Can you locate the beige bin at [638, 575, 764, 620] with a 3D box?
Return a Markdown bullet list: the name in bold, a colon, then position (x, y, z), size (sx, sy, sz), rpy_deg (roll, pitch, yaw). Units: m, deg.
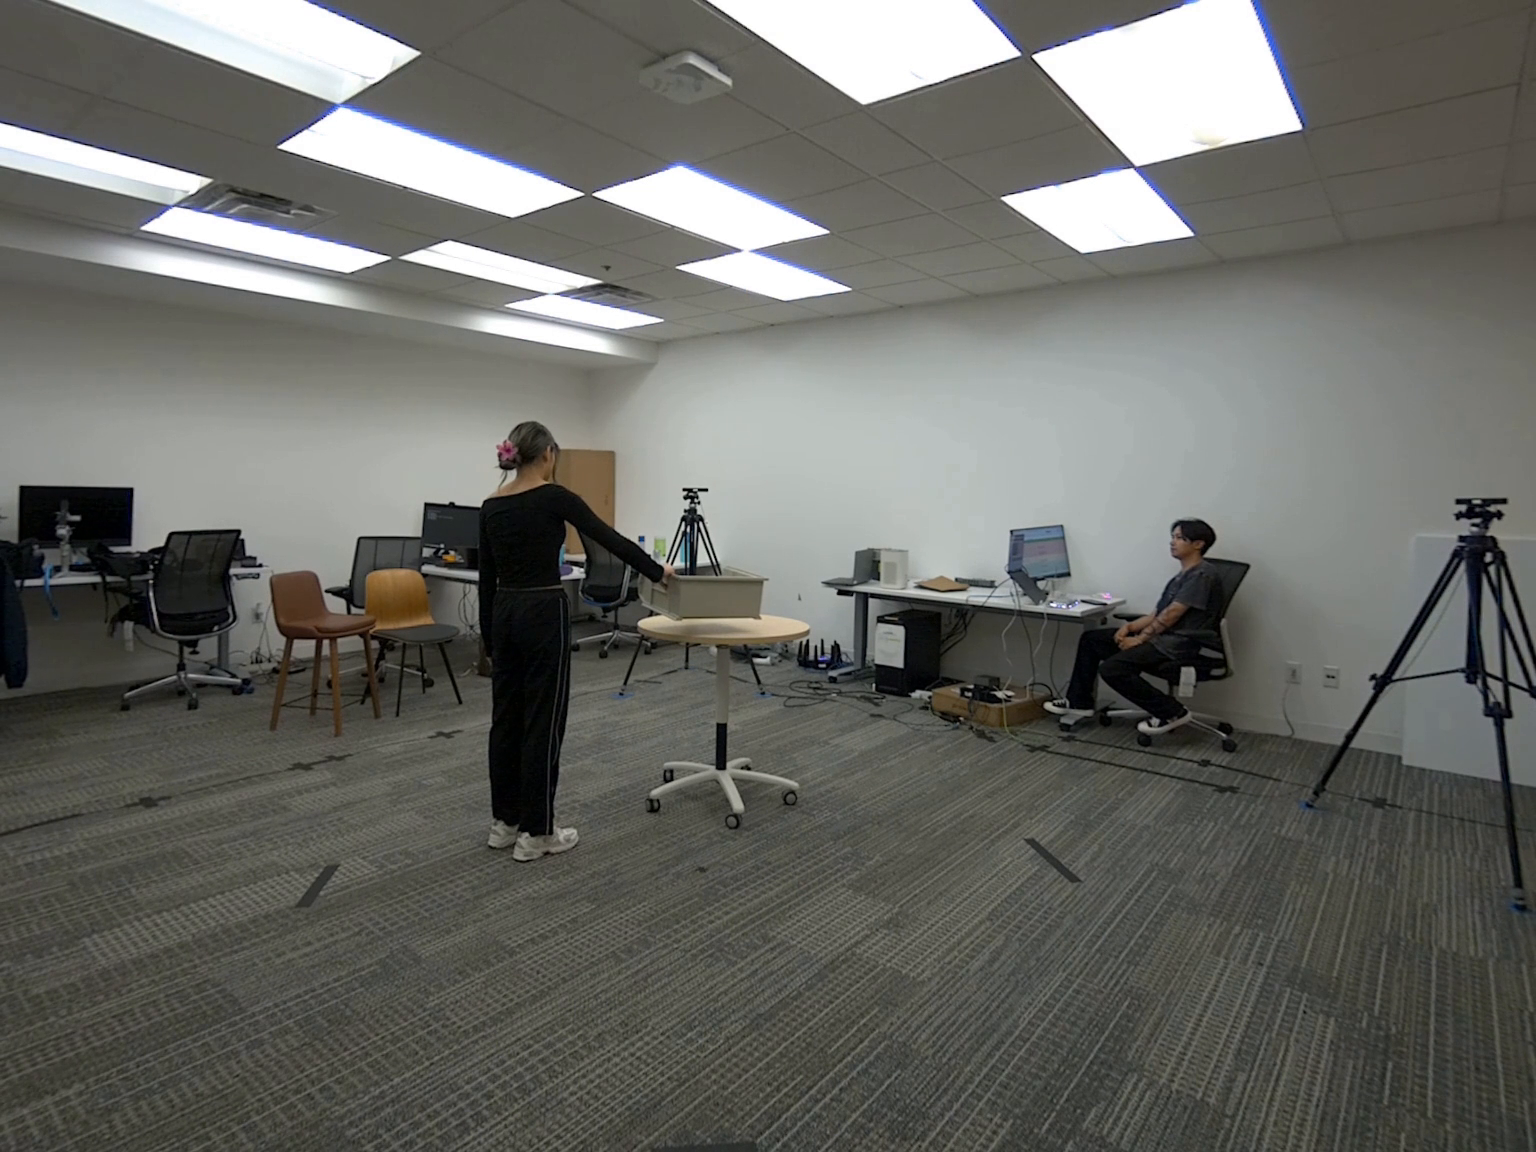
- **beige bin**: position (-0.298, 0.058, 3.595), size (0.410, 0.188, 0.391), rpy_deg (2, 9, -33)
